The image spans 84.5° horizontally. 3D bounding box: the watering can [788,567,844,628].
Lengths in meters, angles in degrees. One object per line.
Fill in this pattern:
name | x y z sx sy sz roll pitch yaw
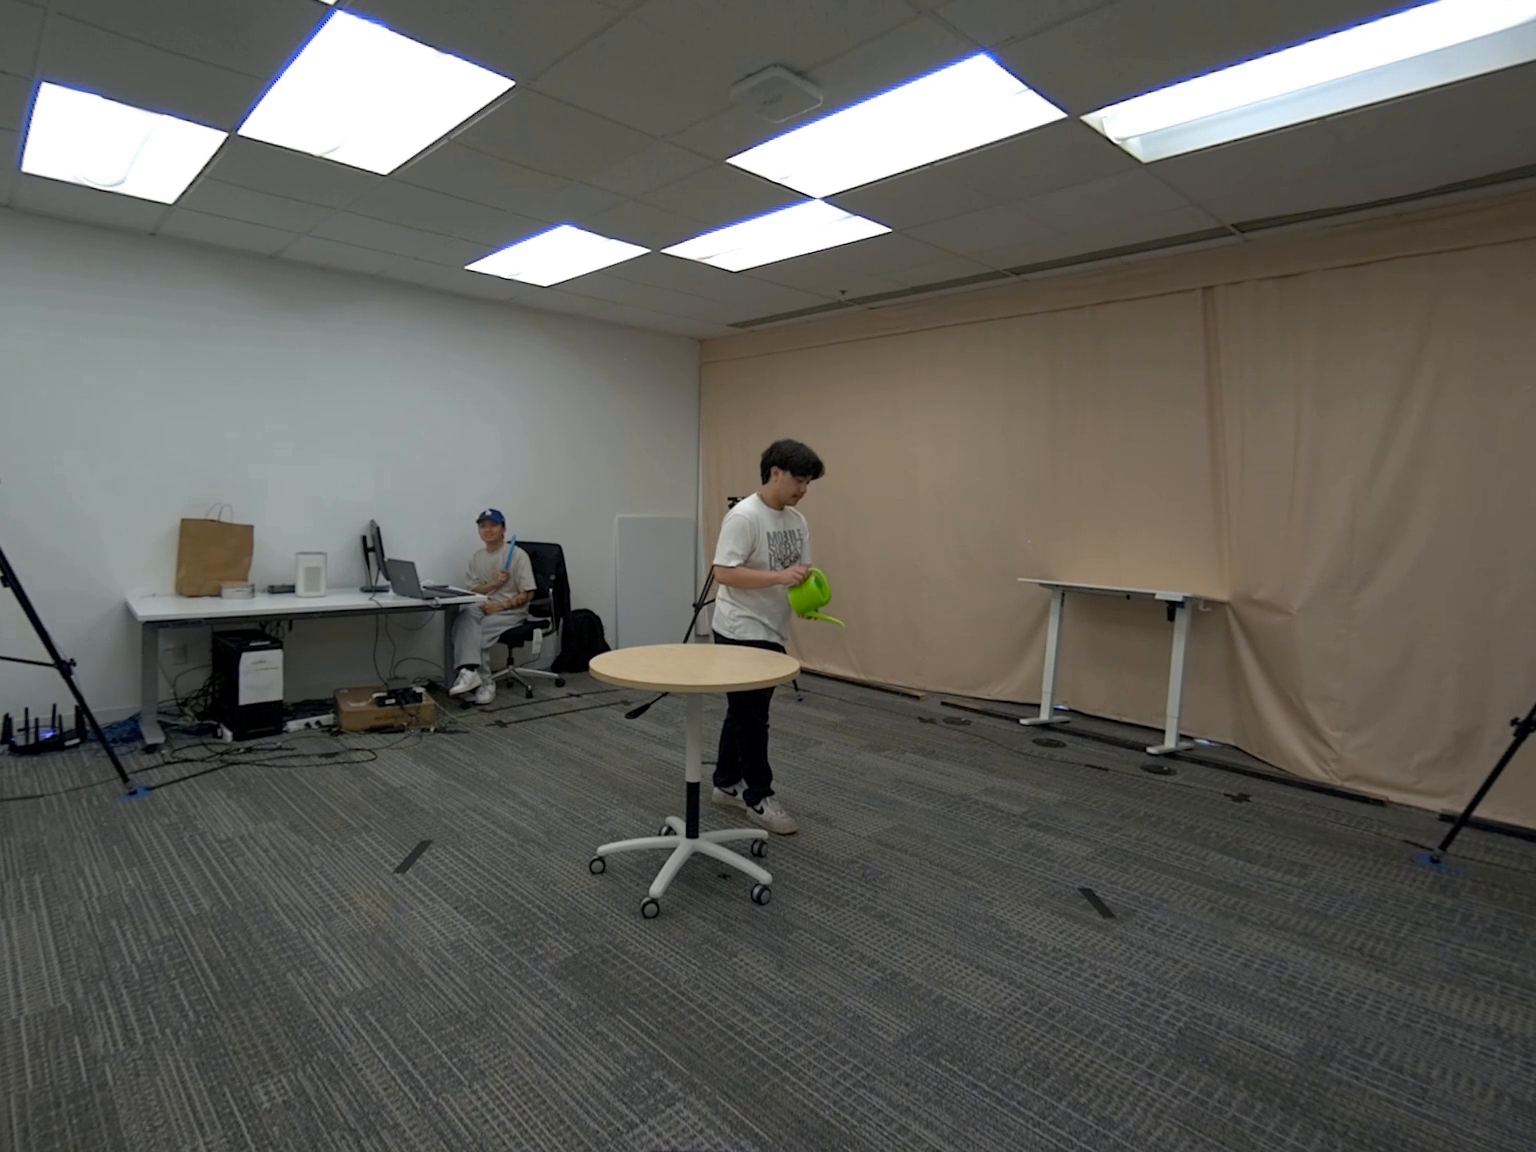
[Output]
watering can | 0.177 0.114 3.384 0.178 0.283 0.095 -28 -24 32
